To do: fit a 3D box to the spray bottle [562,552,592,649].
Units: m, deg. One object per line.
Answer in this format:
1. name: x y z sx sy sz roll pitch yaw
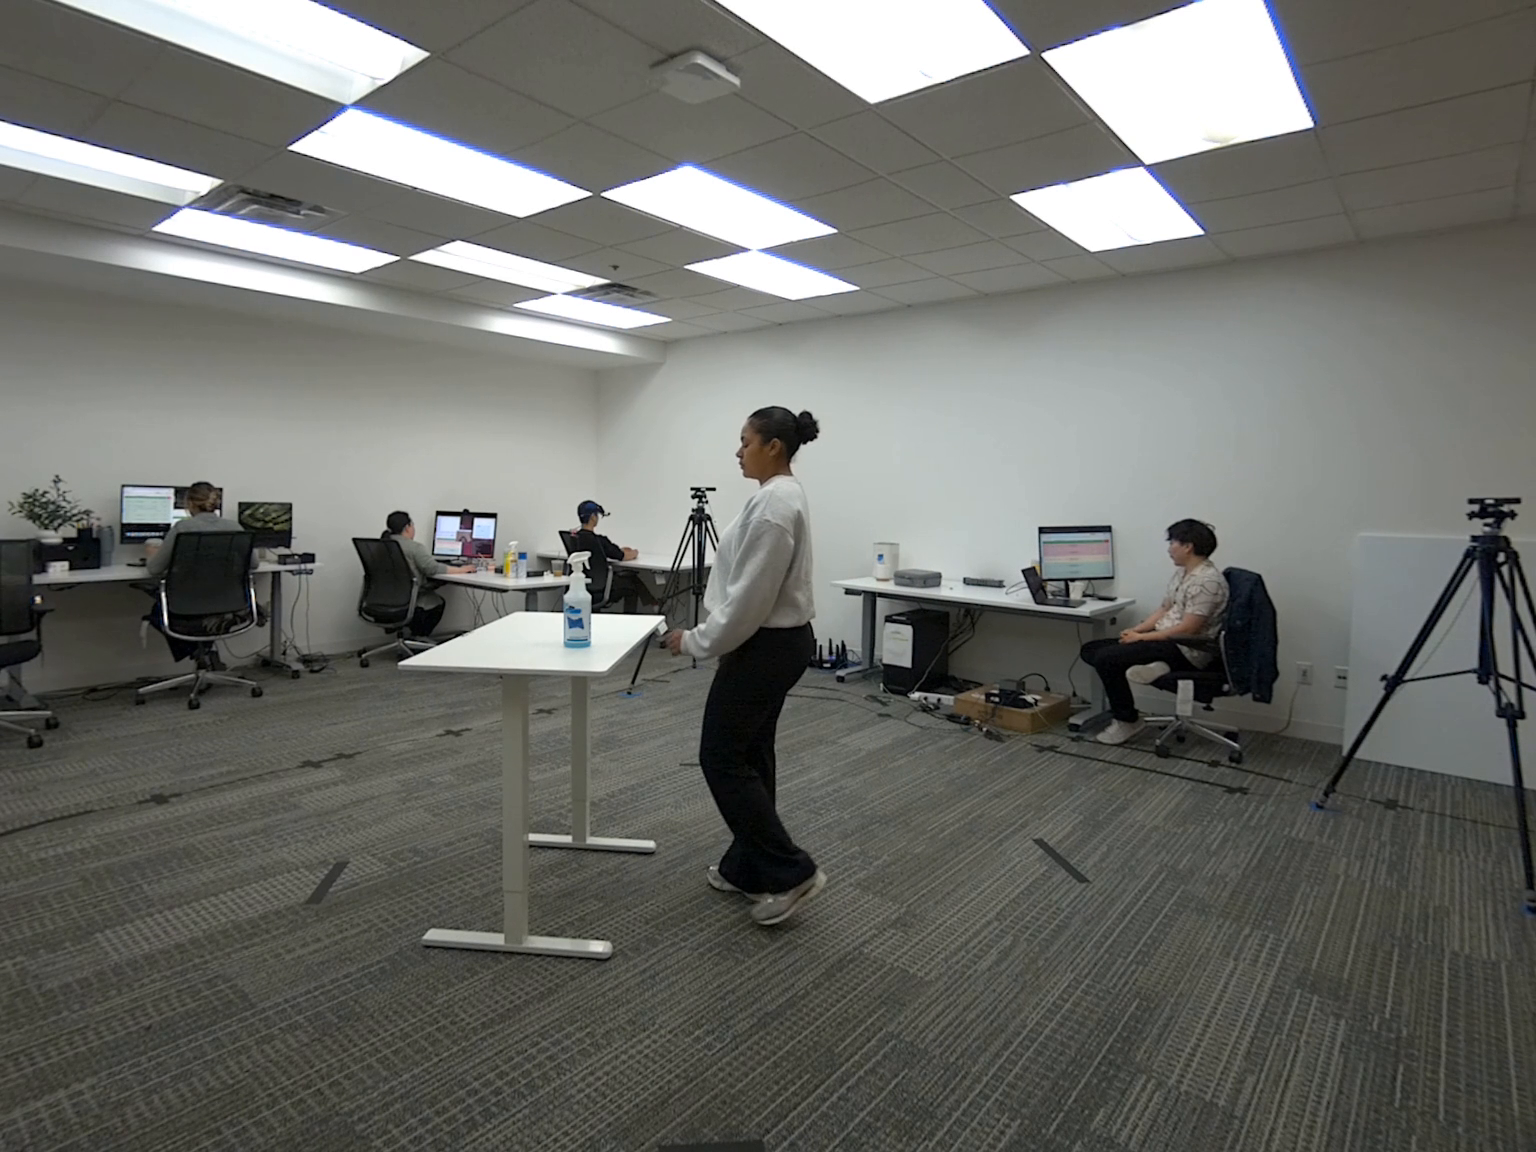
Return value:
1. spray bottle: -0.614 0.074 2.694 0.088 0.297 0.089 1 3 -27
